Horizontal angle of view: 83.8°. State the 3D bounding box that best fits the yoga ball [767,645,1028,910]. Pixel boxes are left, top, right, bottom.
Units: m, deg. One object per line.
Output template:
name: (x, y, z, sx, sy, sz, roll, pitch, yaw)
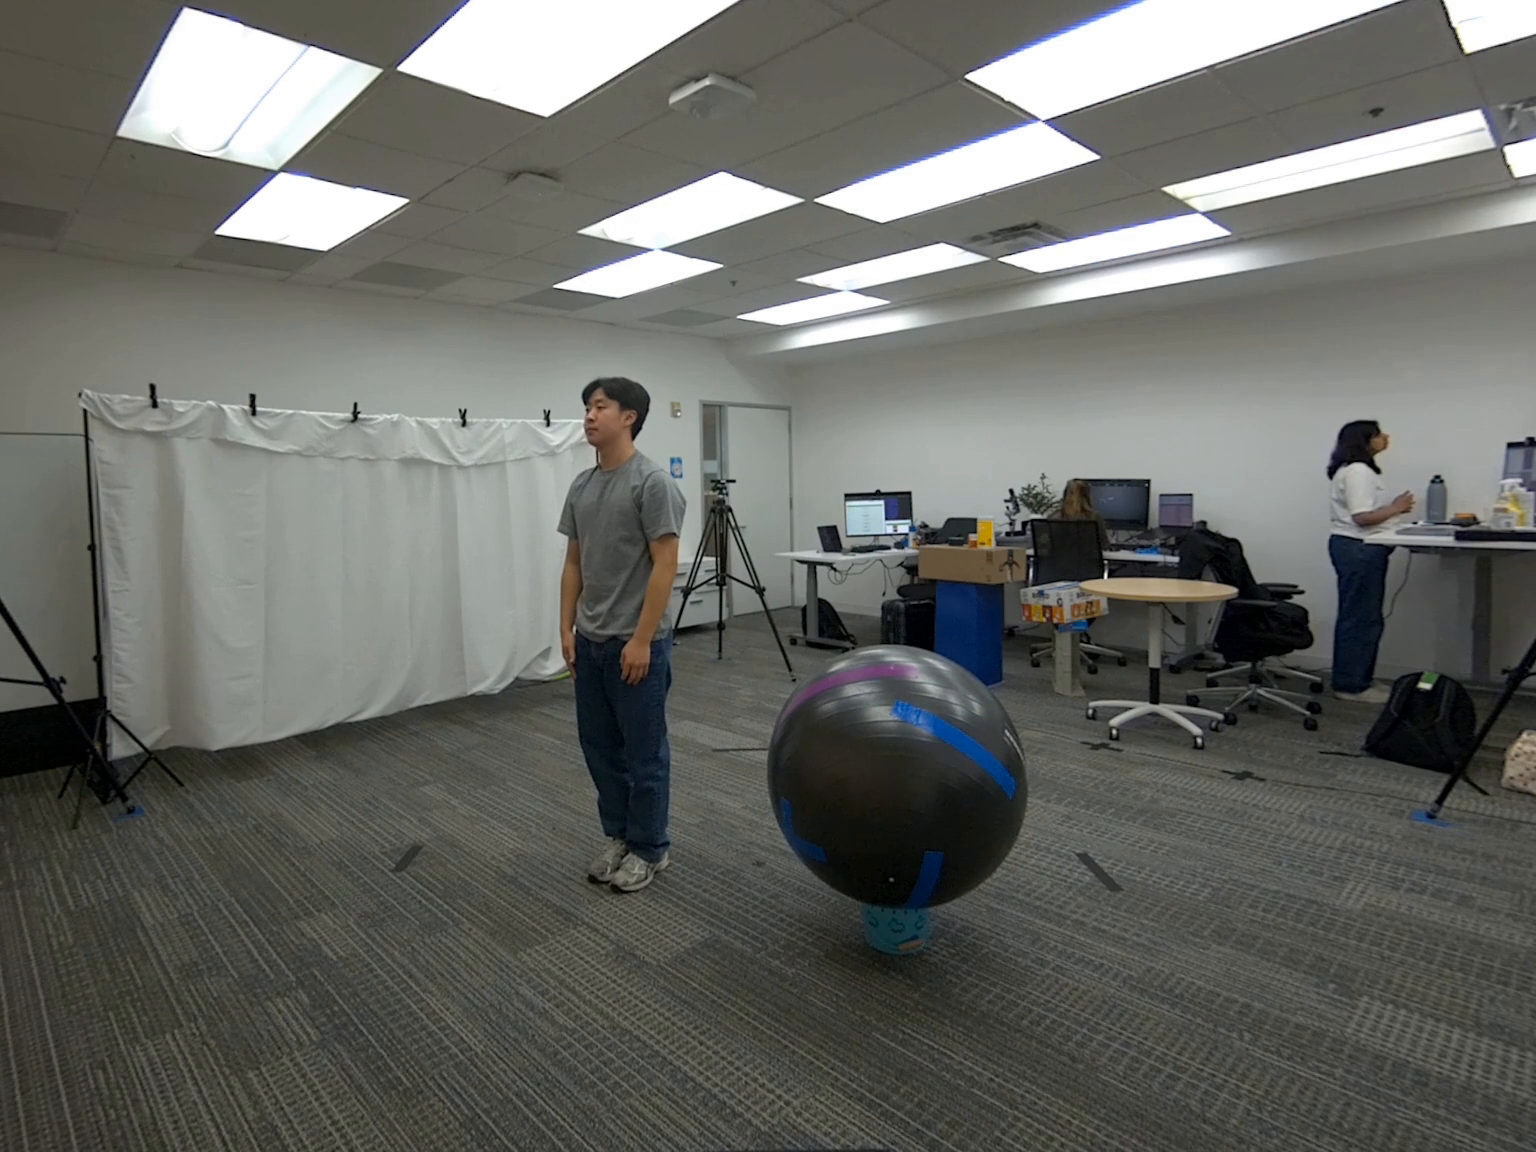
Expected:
yoga ball: (0.382, 0.594, 2.554, 0.757, 0.755, 0.762, -1, 5, -2)
